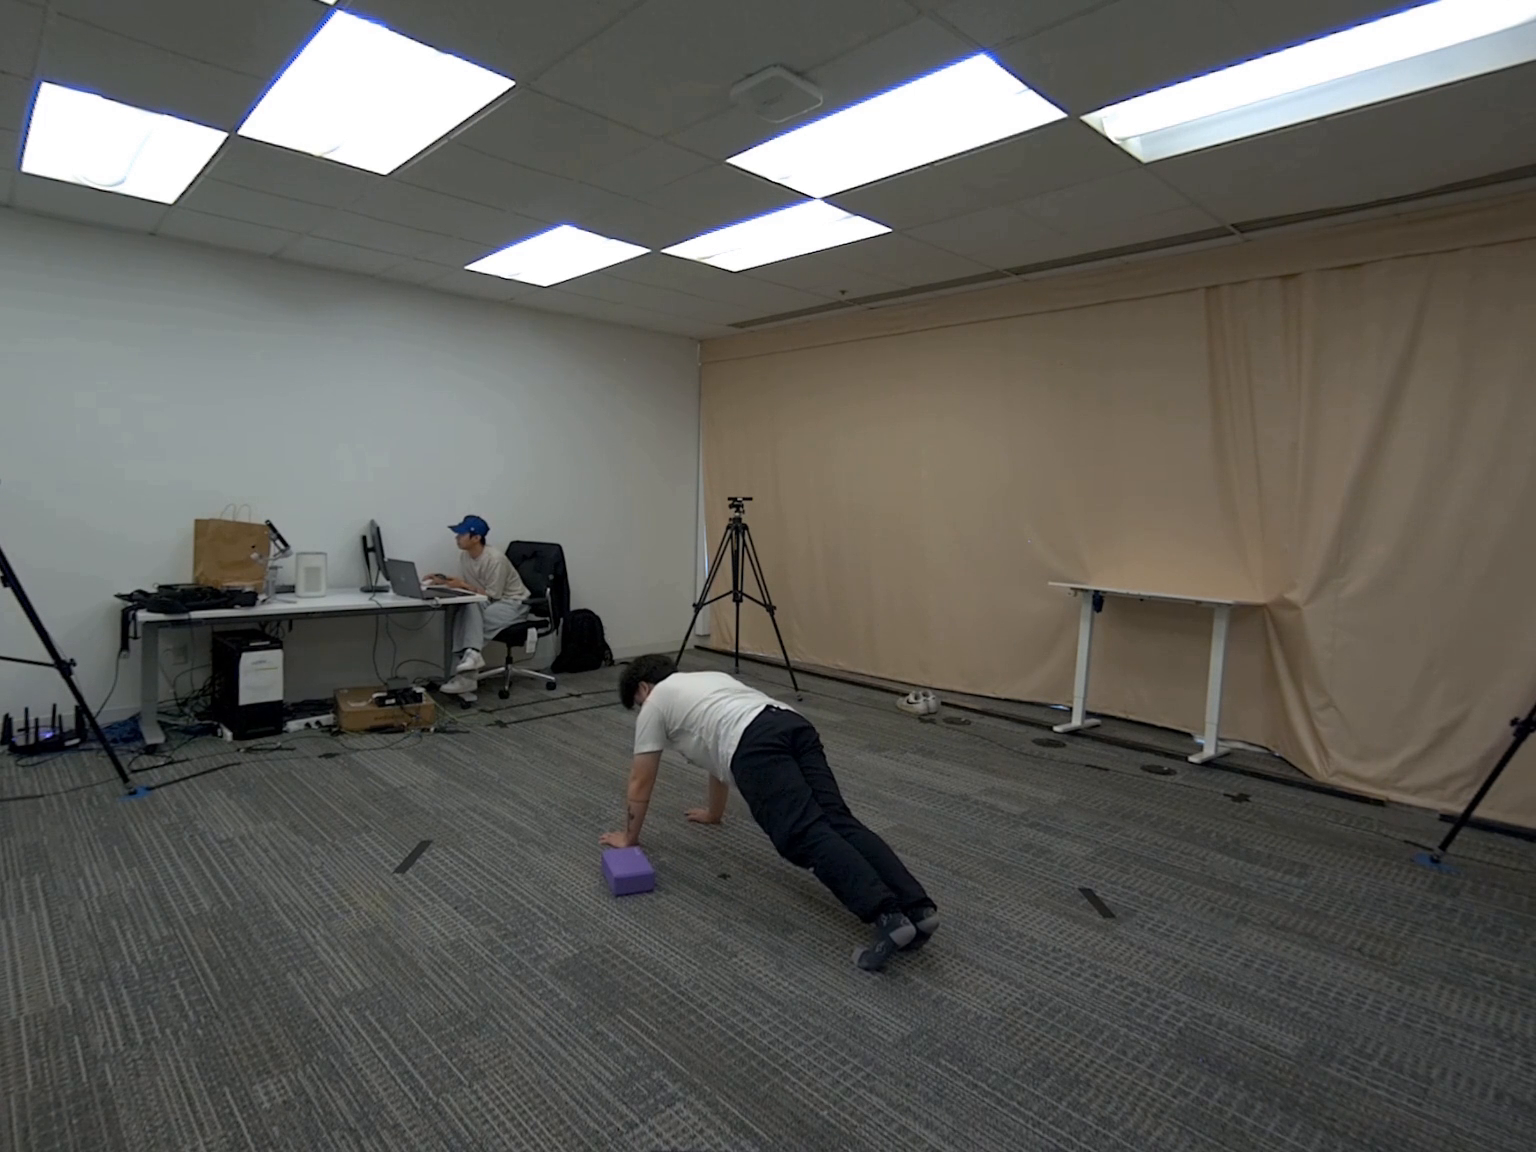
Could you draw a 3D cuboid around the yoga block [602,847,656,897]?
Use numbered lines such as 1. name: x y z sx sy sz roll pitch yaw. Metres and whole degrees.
1. yoga block: -0.511 1.060 3.052 0.146 0.076 0.234 0 5 -22
